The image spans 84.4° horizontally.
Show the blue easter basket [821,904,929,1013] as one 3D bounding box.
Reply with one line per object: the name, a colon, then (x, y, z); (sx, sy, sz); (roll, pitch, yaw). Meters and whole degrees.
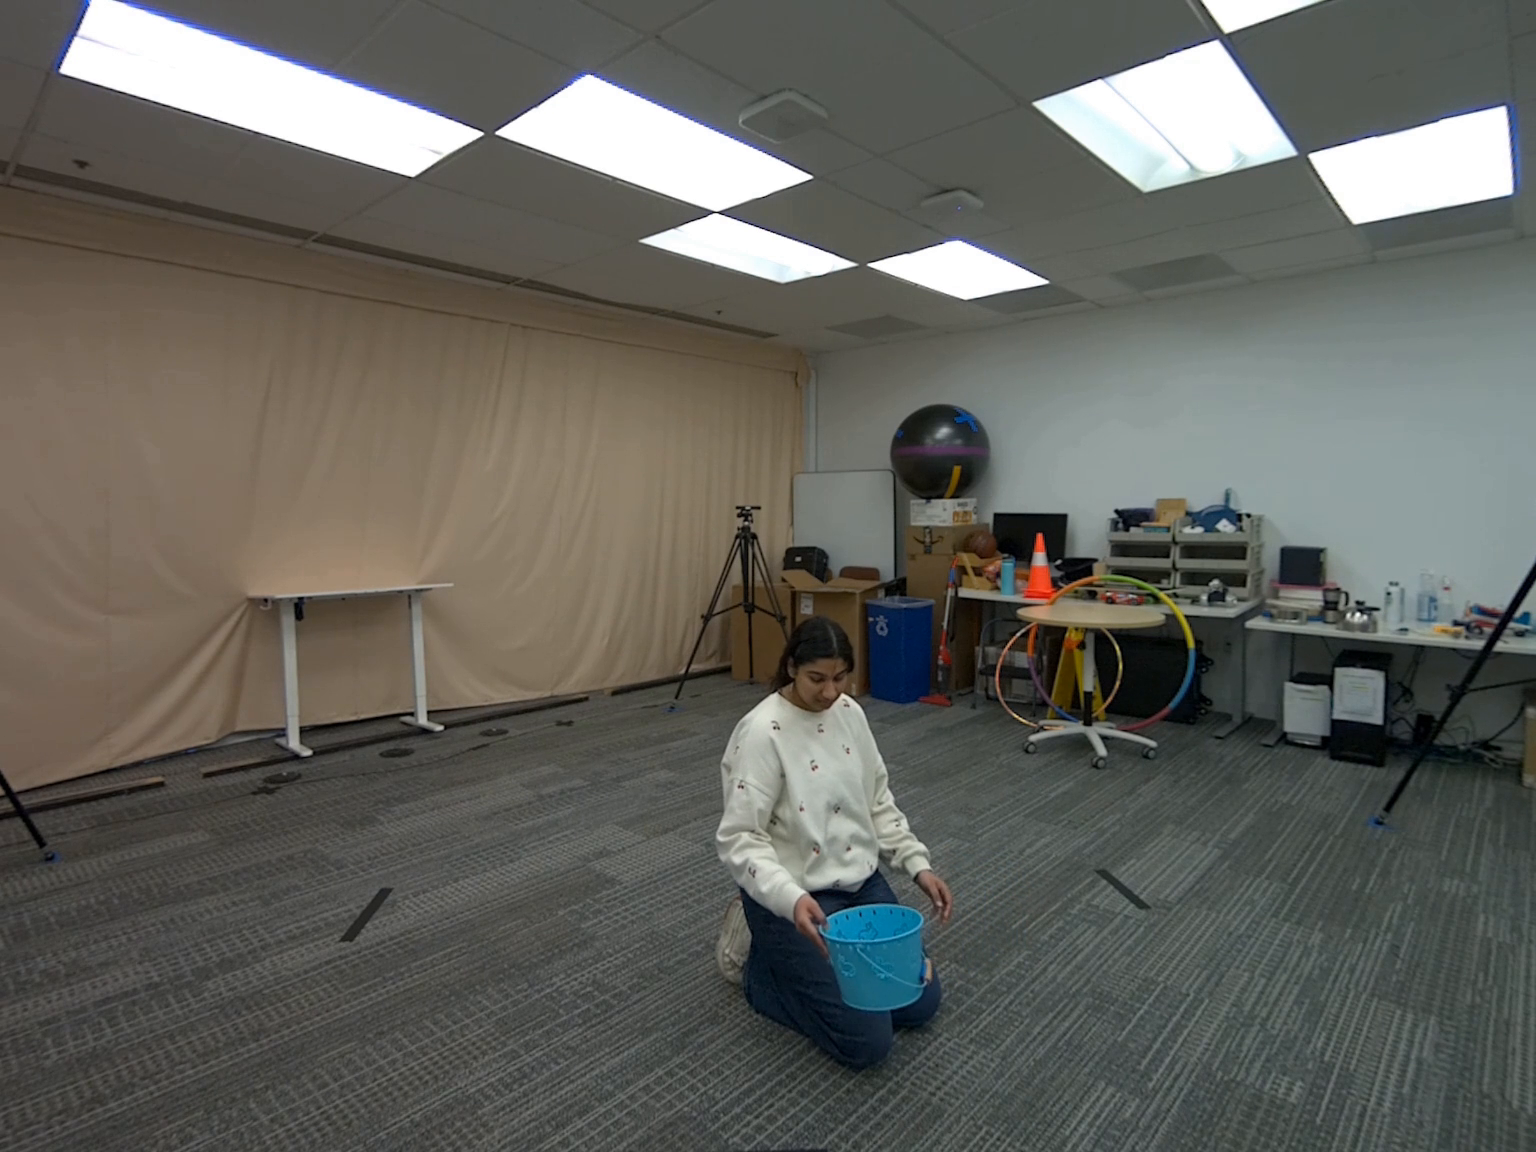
blue easter basket: (0.251, 0.857, 1.893); (0.243, 0.156, 0.243); (-9, -4, -3)
